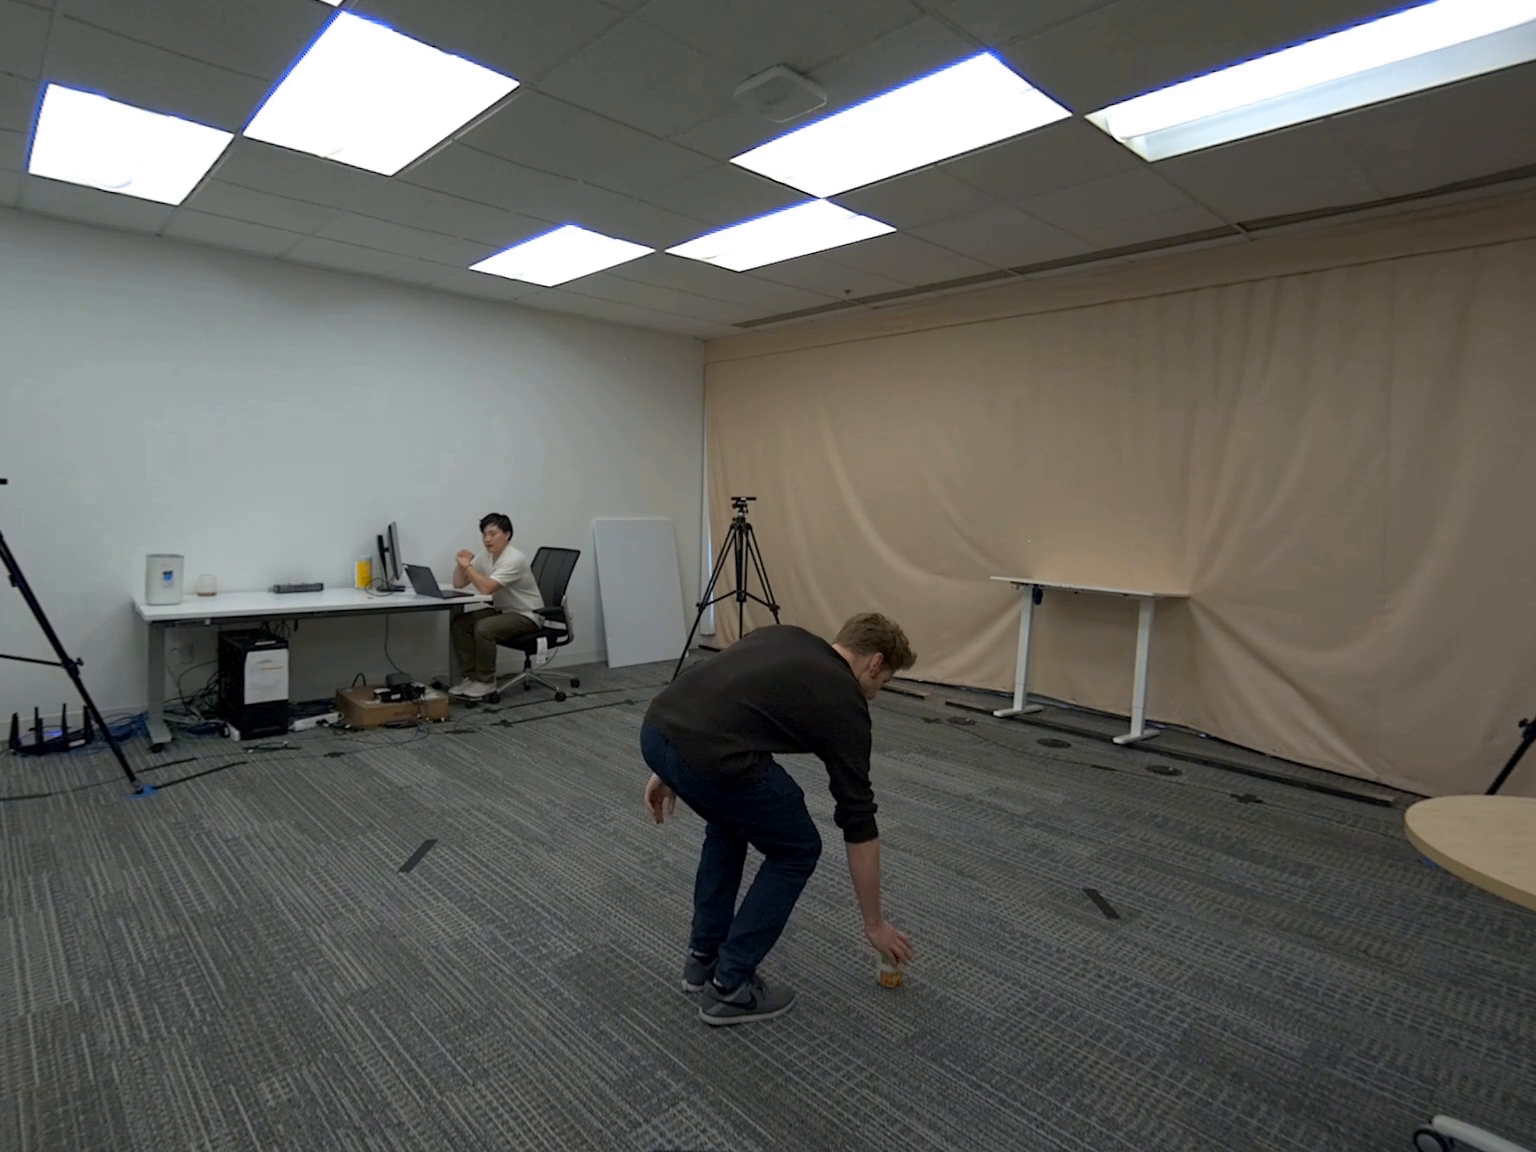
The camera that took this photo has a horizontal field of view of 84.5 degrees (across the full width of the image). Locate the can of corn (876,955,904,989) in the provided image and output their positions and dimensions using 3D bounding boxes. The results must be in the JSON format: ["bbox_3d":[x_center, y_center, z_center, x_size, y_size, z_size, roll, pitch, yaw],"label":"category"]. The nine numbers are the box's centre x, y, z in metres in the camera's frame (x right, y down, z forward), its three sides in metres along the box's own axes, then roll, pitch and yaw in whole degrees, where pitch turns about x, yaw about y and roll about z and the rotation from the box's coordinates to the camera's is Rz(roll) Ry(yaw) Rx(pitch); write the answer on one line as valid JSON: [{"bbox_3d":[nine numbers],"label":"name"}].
[{"bbox_3d":[0.346,1.128,2.445,0.074,0.111,0.074,1,3,-1],"label":"can of corn"}]
